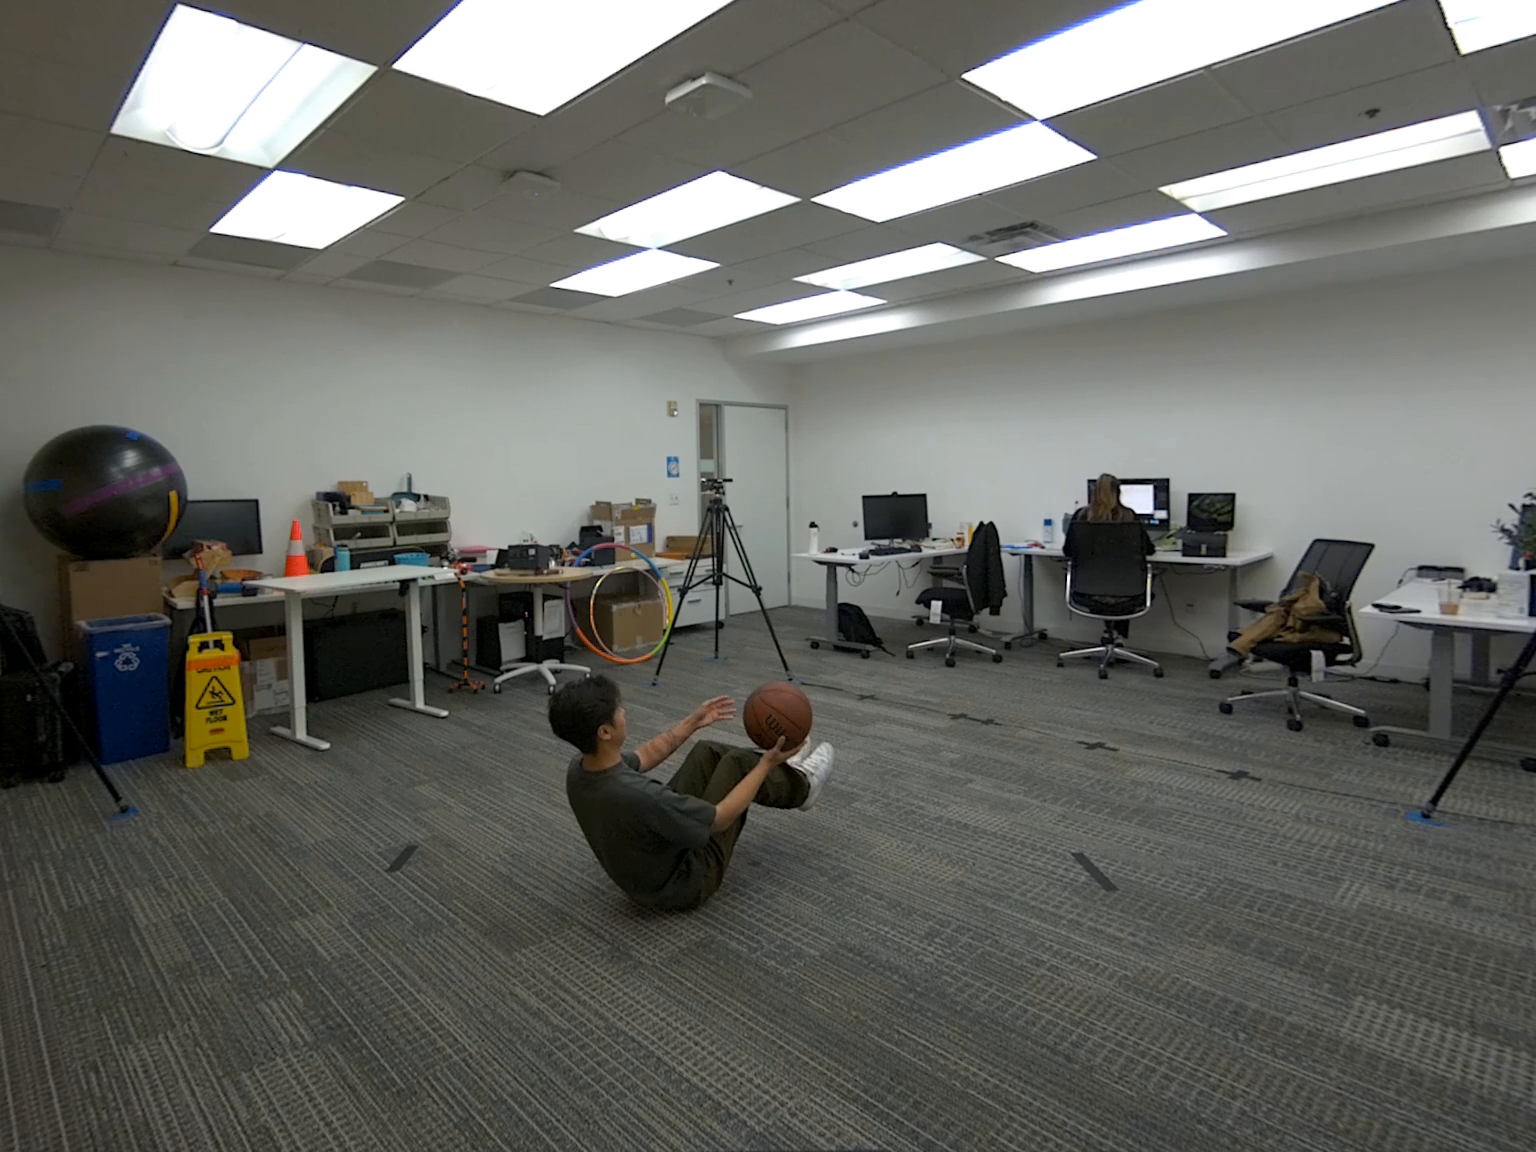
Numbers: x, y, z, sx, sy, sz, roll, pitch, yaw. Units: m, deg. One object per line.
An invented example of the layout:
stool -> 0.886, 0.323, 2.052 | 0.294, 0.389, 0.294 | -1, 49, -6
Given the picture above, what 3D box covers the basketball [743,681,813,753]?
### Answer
basketball -> 0.034, 0.489, 2.920 | 0.236, 0.235, 0.237 | -1, 5, -2
